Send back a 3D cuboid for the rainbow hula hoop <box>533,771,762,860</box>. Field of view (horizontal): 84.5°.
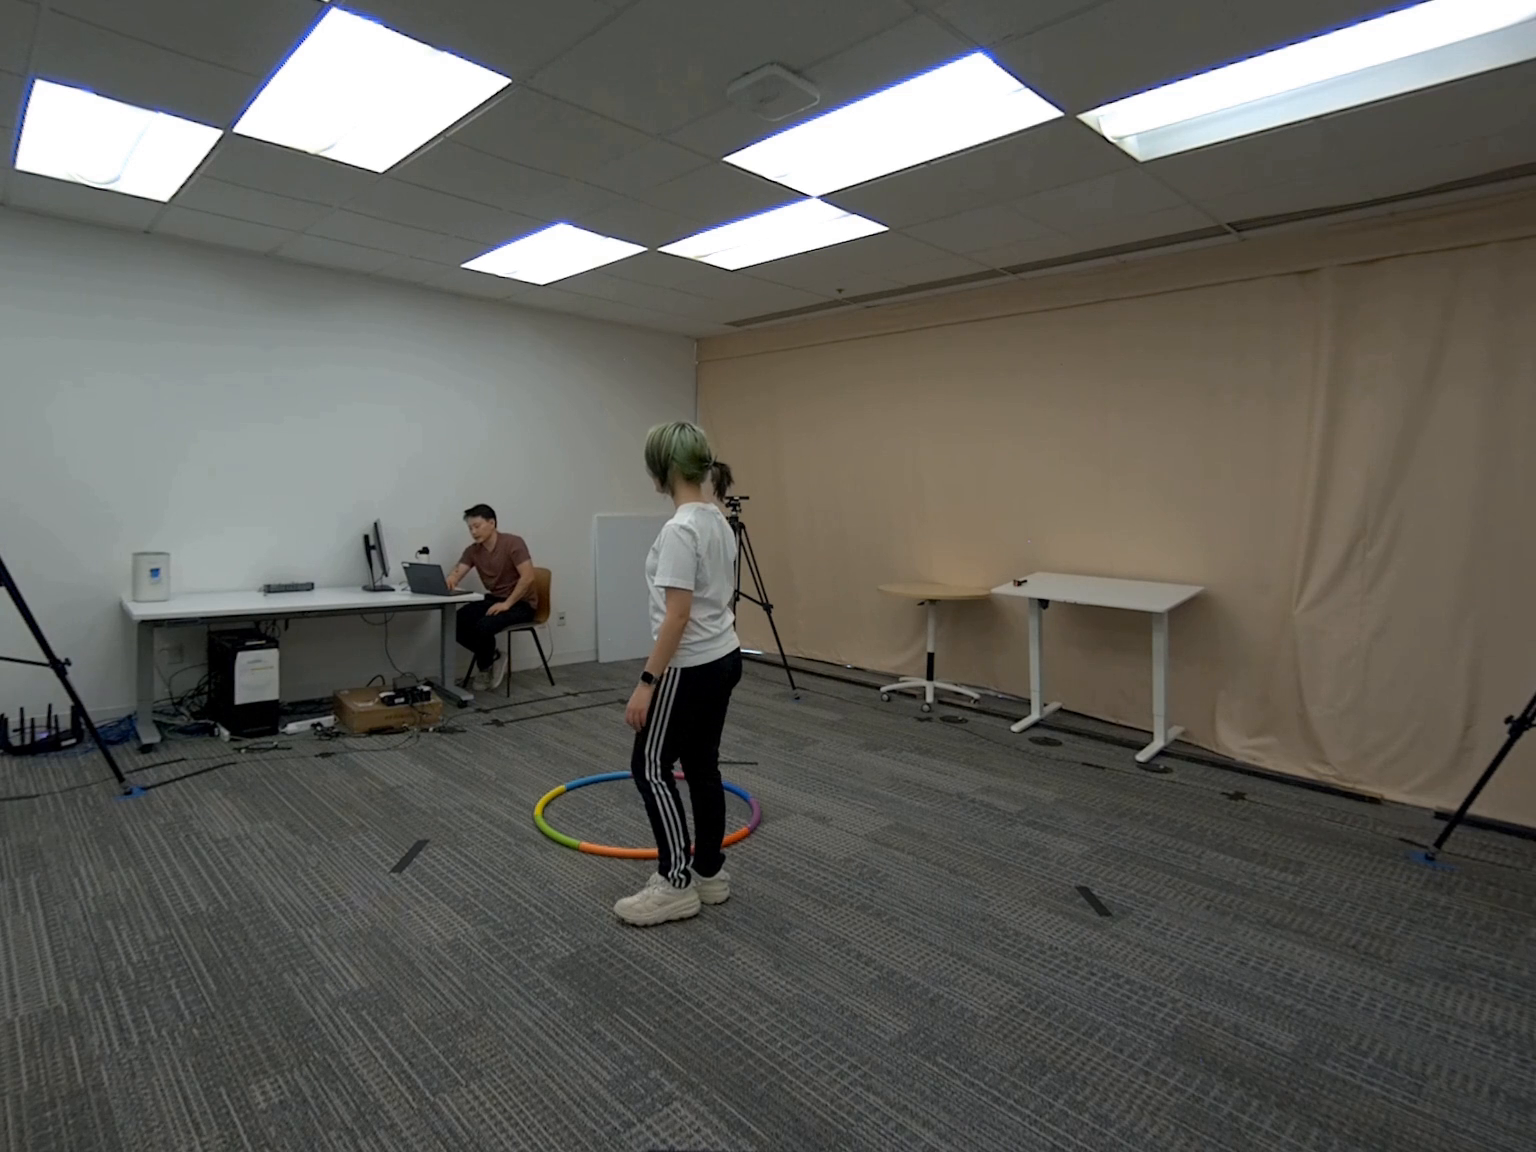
[{"bbox_3d":[-0.532,1.018,3.706,0.985,0.051,0.989,2,6,-1],"label":"rainbow hula hoop"}]
